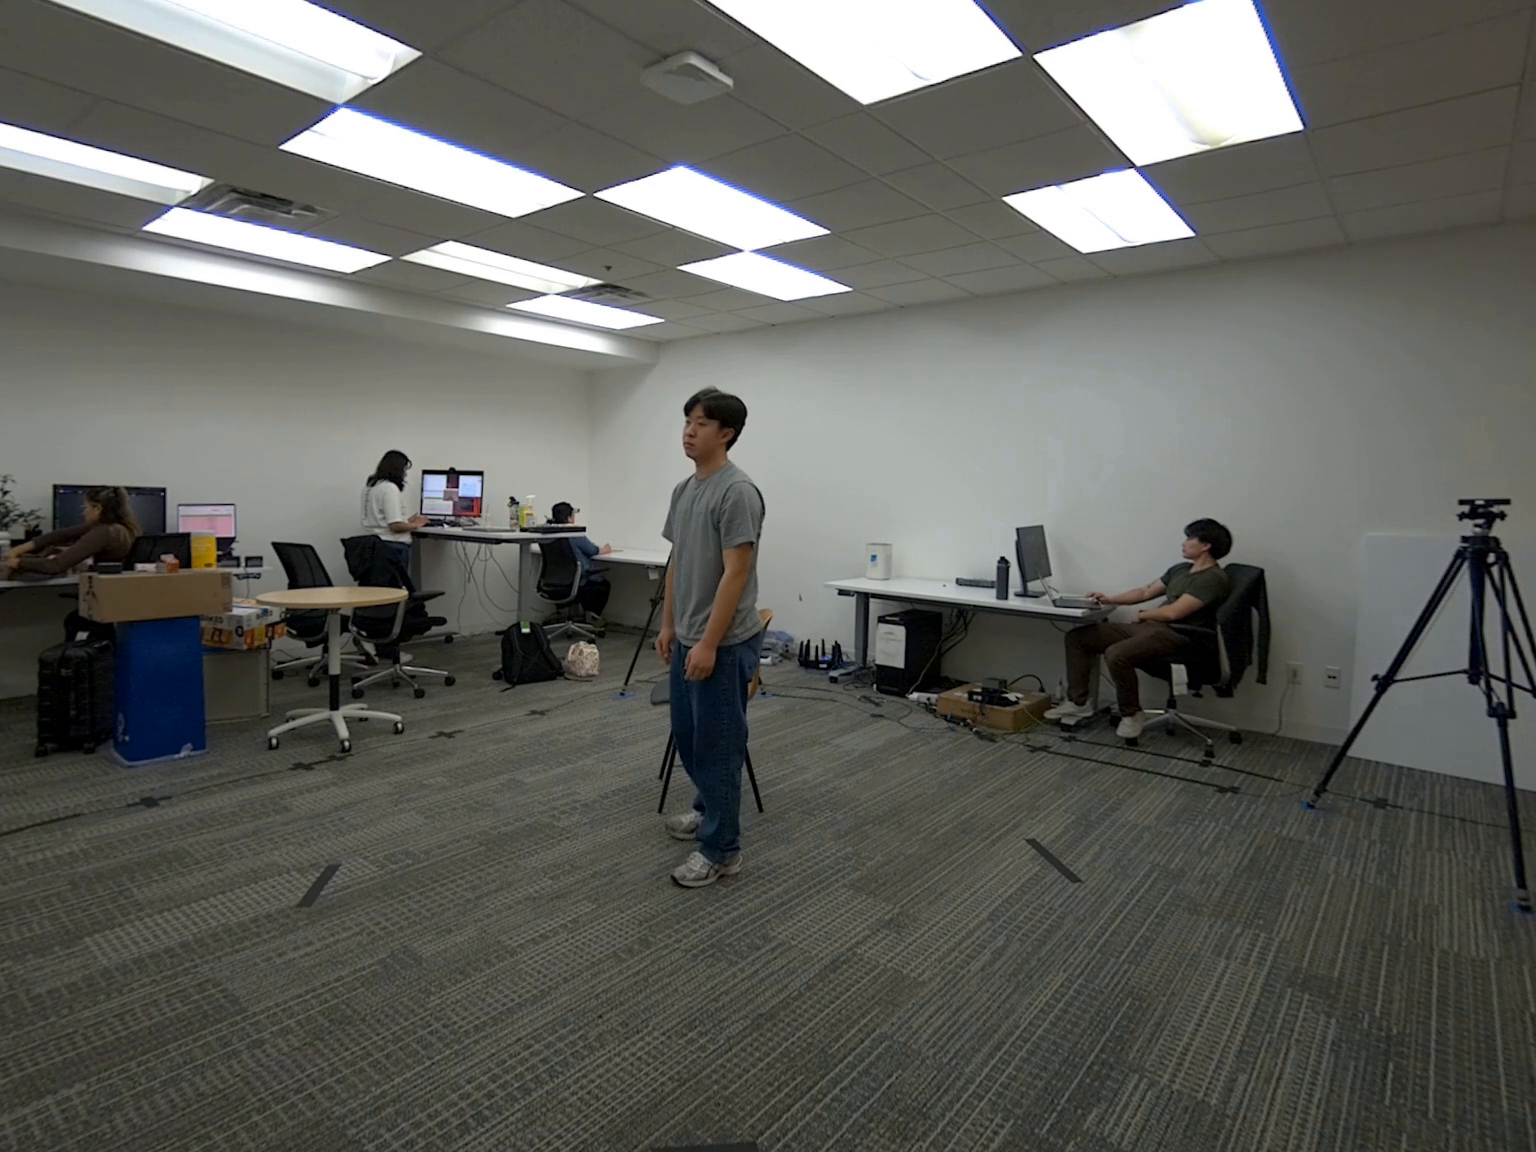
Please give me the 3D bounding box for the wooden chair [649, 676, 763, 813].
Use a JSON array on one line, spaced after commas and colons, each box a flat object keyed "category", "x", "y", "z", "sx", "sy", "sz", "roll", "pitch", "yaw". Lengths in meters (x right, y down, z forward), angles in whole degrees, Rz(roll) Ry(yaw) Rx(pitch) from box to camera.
[{"category": "wooden chair", "x": -0.286, "y": 0.569, "z": 3.844, "sx": 0.520, "sy": 0.875, "sz": 0.482, "roll": 4, "pitch": 3, "yaw": -6}]
